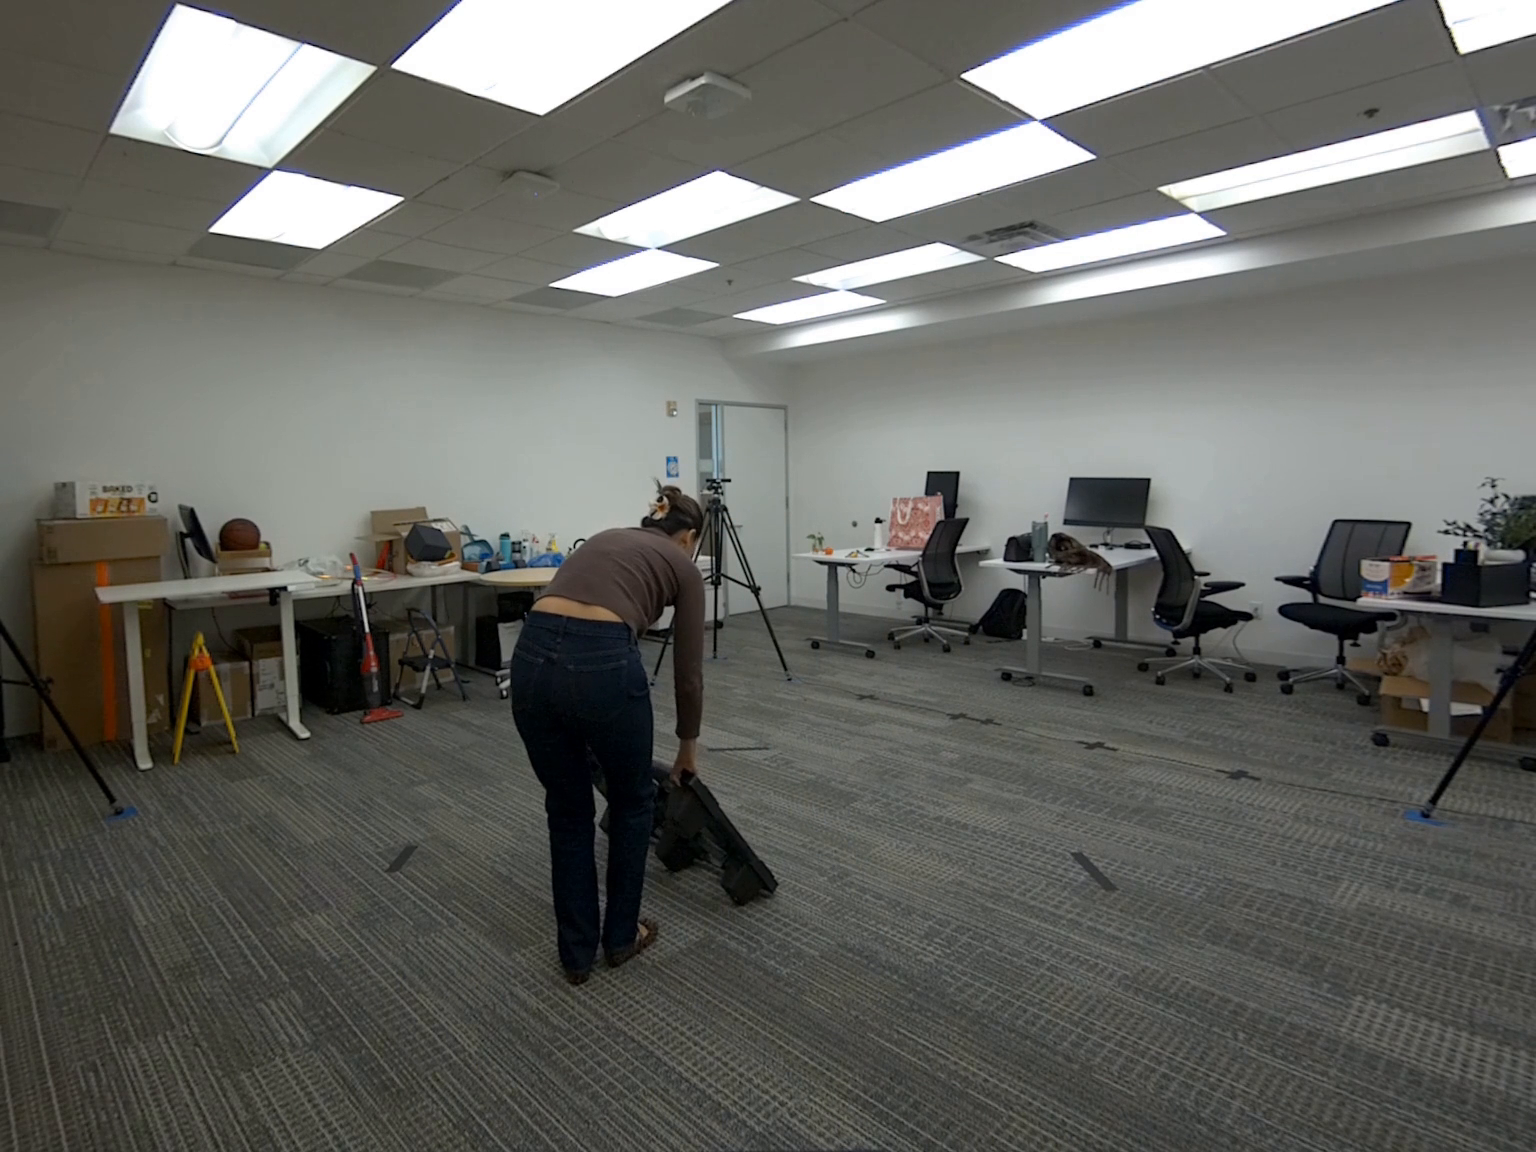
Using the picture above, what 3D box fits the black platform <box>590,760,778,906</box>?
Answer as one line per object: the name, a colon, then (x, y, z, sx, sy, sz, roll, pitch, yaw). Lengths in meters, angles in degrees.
black platform: (-0.407, 0.839, 2.987, 0.831, 0.586, 0.143, 5, 43, 46)
